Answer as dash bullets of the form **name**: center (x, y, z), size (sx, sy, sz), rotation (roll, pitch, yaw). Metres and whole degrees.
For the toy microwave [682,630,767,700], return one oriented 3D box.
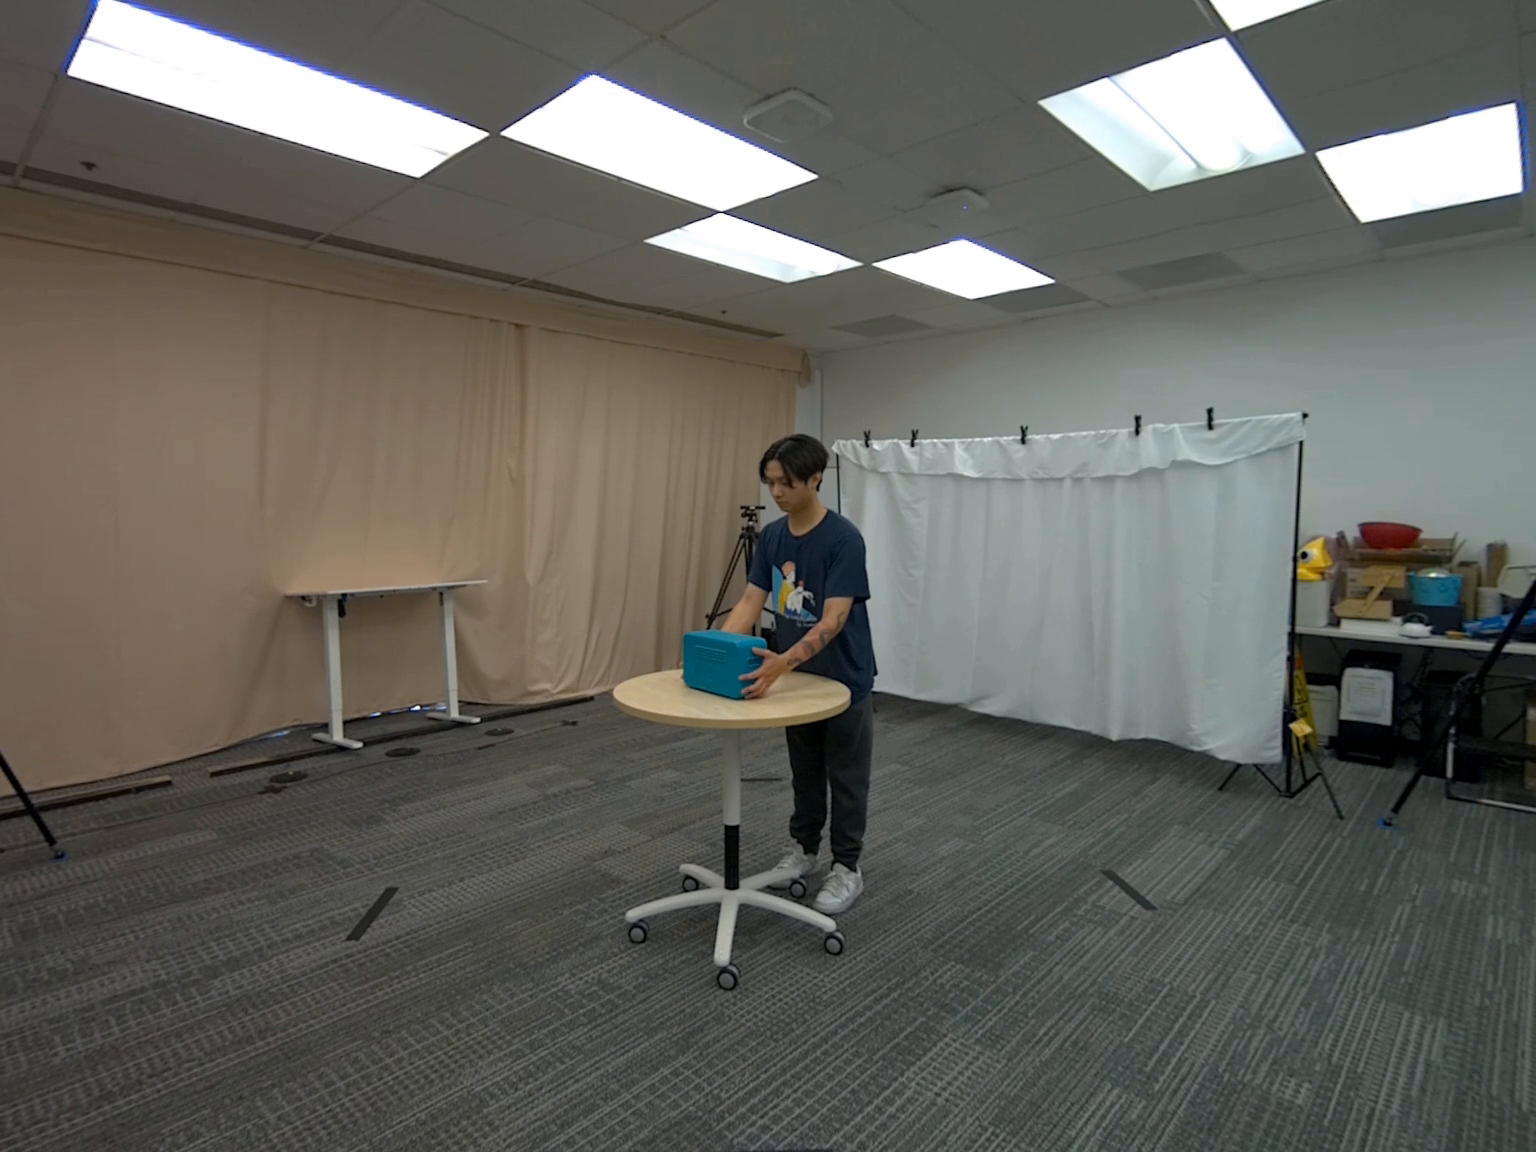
- **toy microwave**: center (-0.130, 0.286, 2.703), size (0.148, 0.184, 0.296), rotation (-3, 5, -41)
